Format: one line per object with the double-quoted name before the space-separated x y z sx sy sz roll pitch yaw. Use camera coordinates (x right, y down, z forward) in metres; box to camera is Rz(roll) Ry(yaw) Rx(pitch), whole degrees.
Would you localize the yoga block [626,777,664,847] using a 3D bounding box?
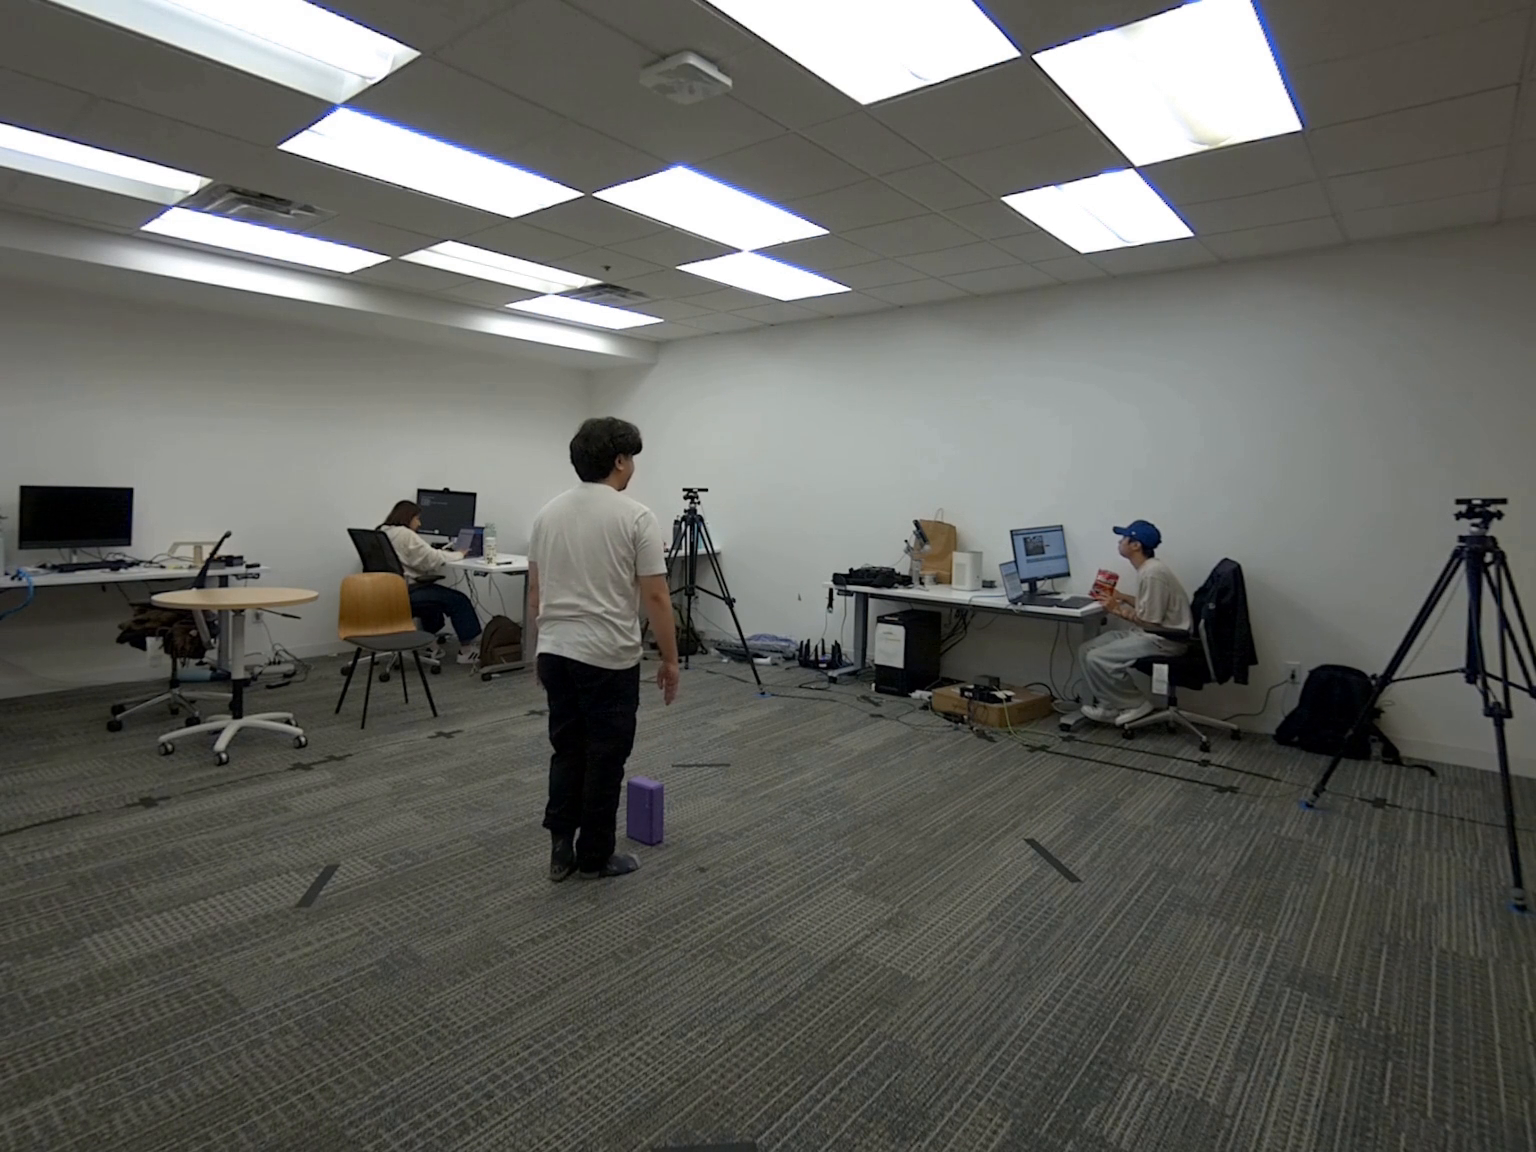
"yoga block" -0.500 0.925 3.370 0.154 0.229 0.074 3 3 39
